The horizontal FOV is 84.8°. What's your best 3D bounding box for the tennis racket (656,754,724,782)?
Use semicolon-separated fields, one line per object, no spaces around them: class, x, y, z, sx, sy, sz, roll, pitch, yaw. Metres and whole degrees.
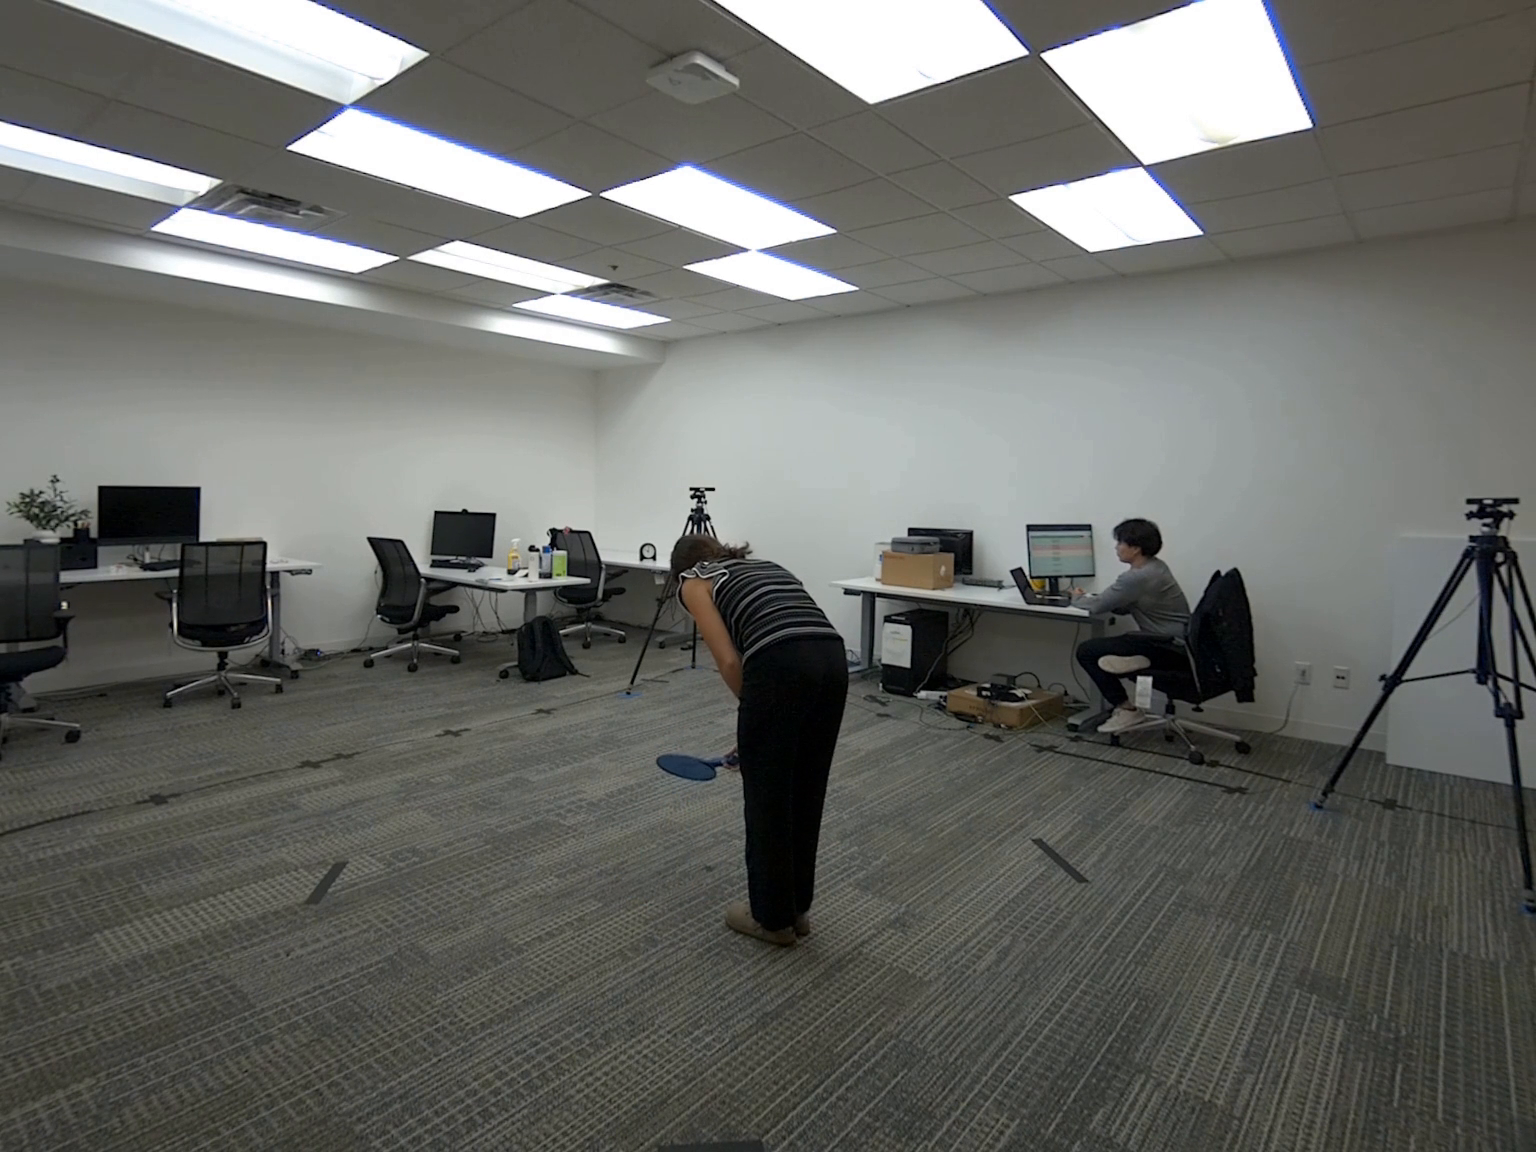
tennis racket;-0.271;0.675;3.063;0.207;0.032;0.439;34;-36;-25
